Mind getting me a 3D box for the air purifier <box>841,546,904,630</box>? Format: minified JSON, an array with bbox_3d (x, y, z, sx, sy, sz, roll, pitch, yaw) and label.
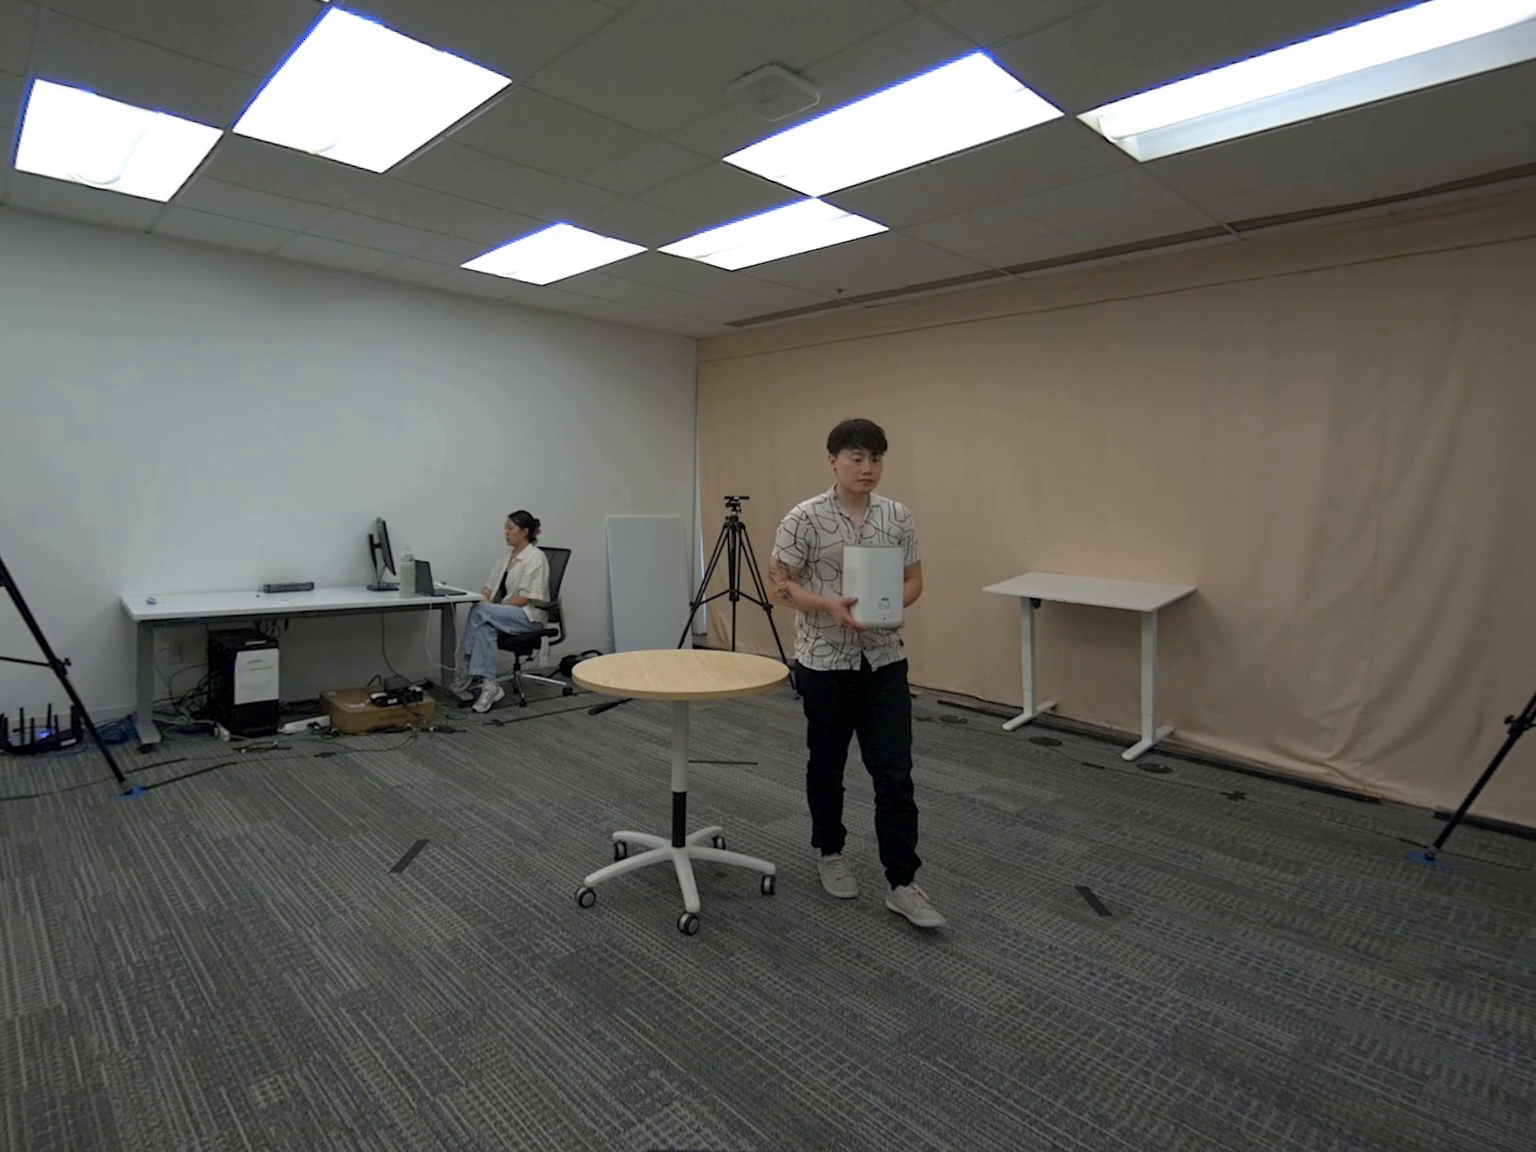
[{"bbox_3d":[0.327,0.035,2.727,0.169,0.265,0.174,0,1,-16],"label":"air purifier"}]
